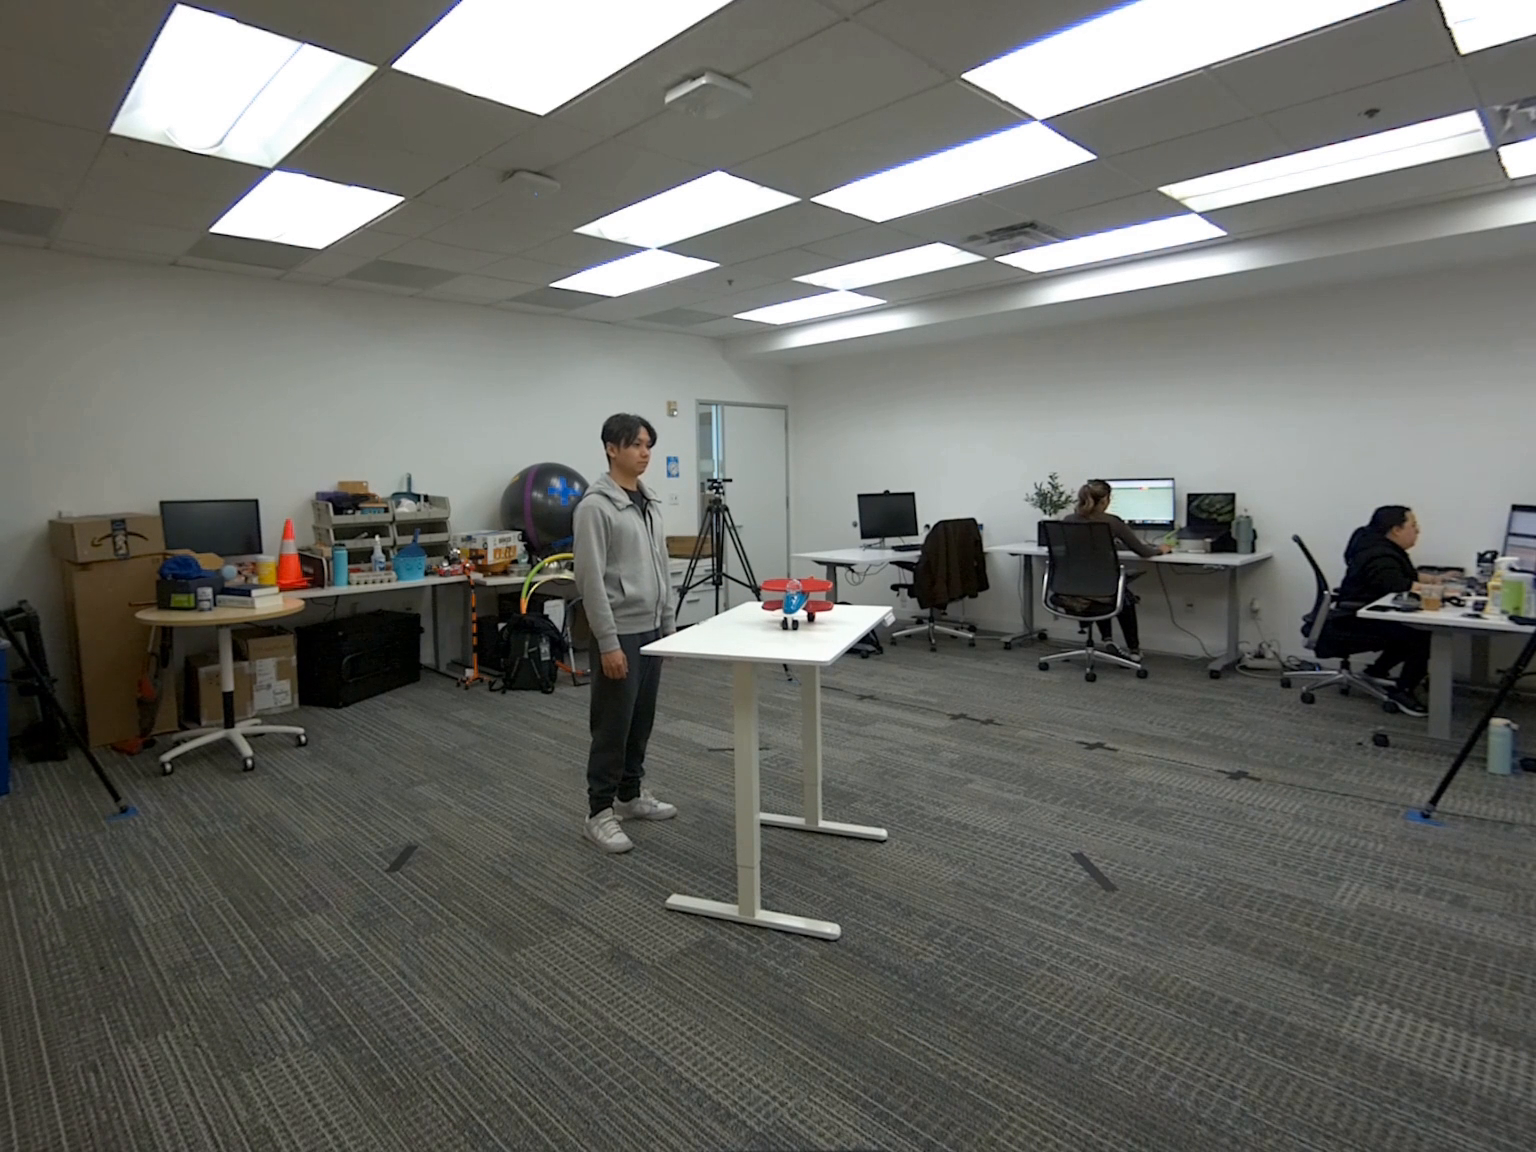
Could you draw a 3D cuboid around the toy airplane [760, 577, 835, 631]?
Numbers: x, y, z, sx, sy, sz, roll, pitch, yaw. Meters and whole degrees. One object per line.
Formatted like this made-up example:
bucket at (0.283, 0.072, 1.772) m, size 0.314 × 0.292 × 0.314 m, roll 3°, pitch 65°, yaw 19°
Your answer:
toy airplane at (0.113, 0.096, 2.996) m, size 0.248 × 0.156 × 0.264 m, roll -4°, pitch 6°, yaw -15°
